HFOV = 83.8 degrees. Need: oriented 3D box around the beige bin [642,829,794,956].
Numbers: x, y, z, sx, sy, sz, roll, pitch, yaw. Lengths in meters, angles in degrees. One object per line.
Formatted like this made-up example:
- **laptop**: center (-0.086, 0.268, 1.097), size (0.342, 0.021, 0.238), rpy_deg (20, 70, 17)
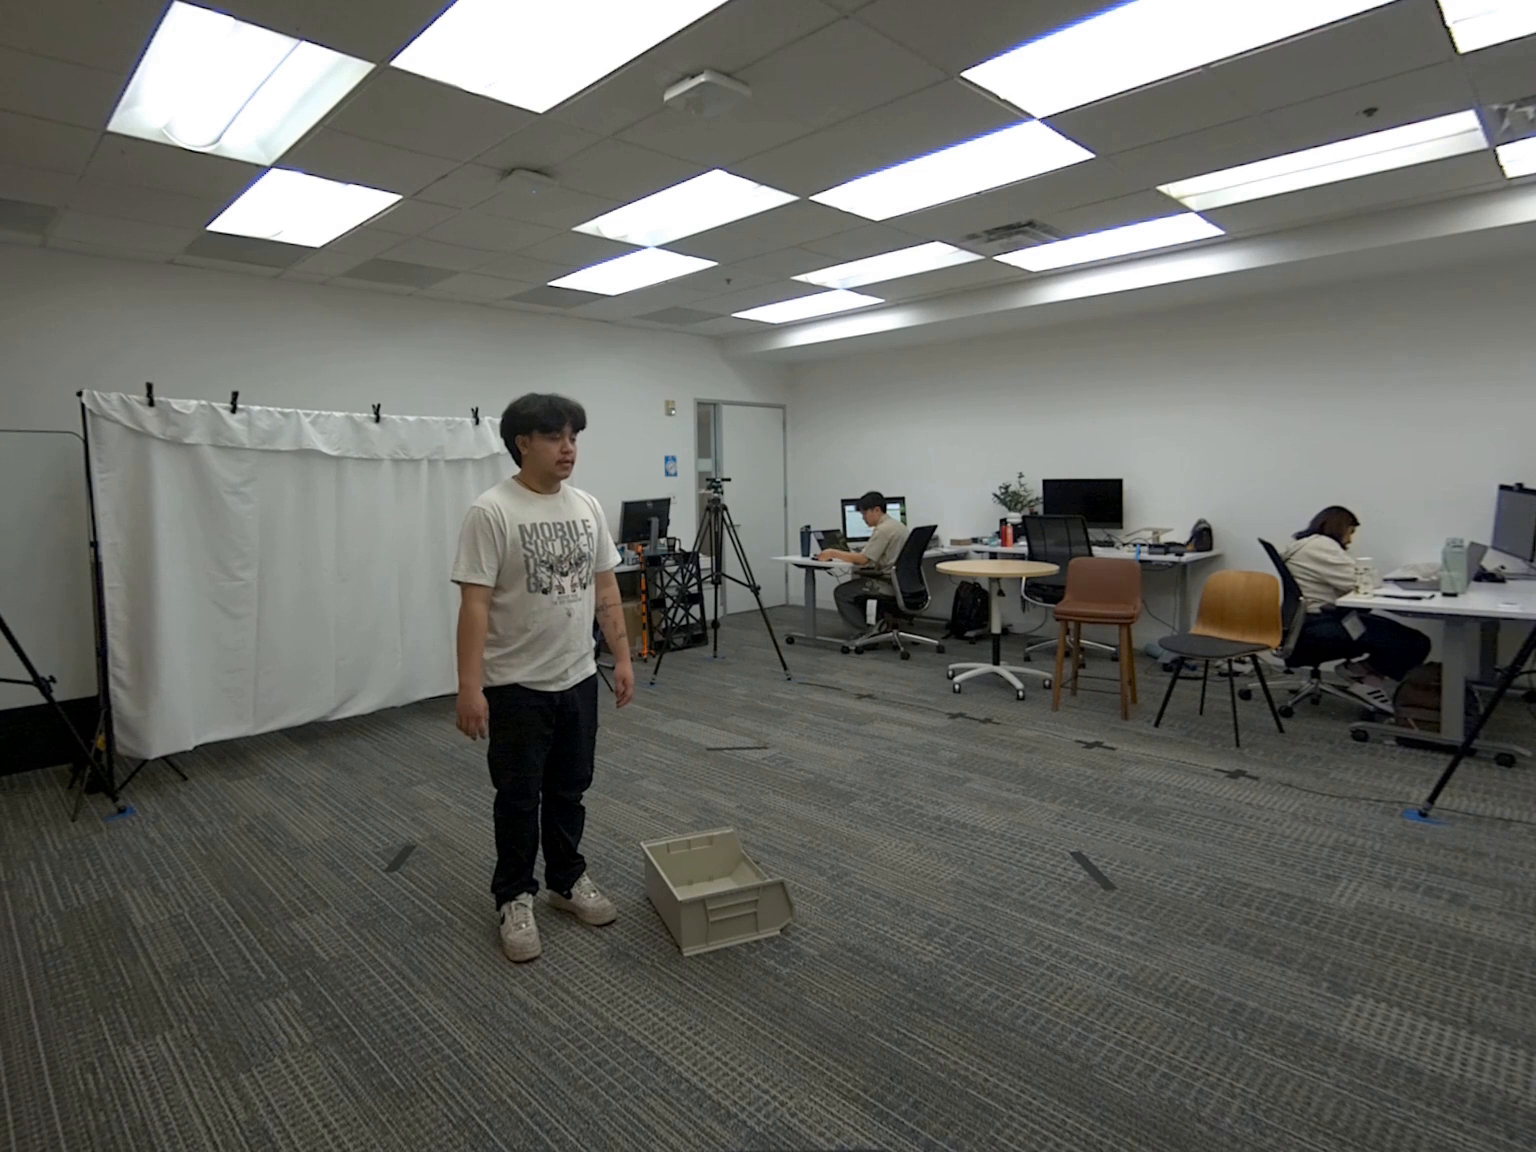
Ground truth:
- **beige bin**: center (-0.170, 0.996, 2.750), size (0.370, 0.188, 0.433), rpy_deg (-4, 7, -23)
